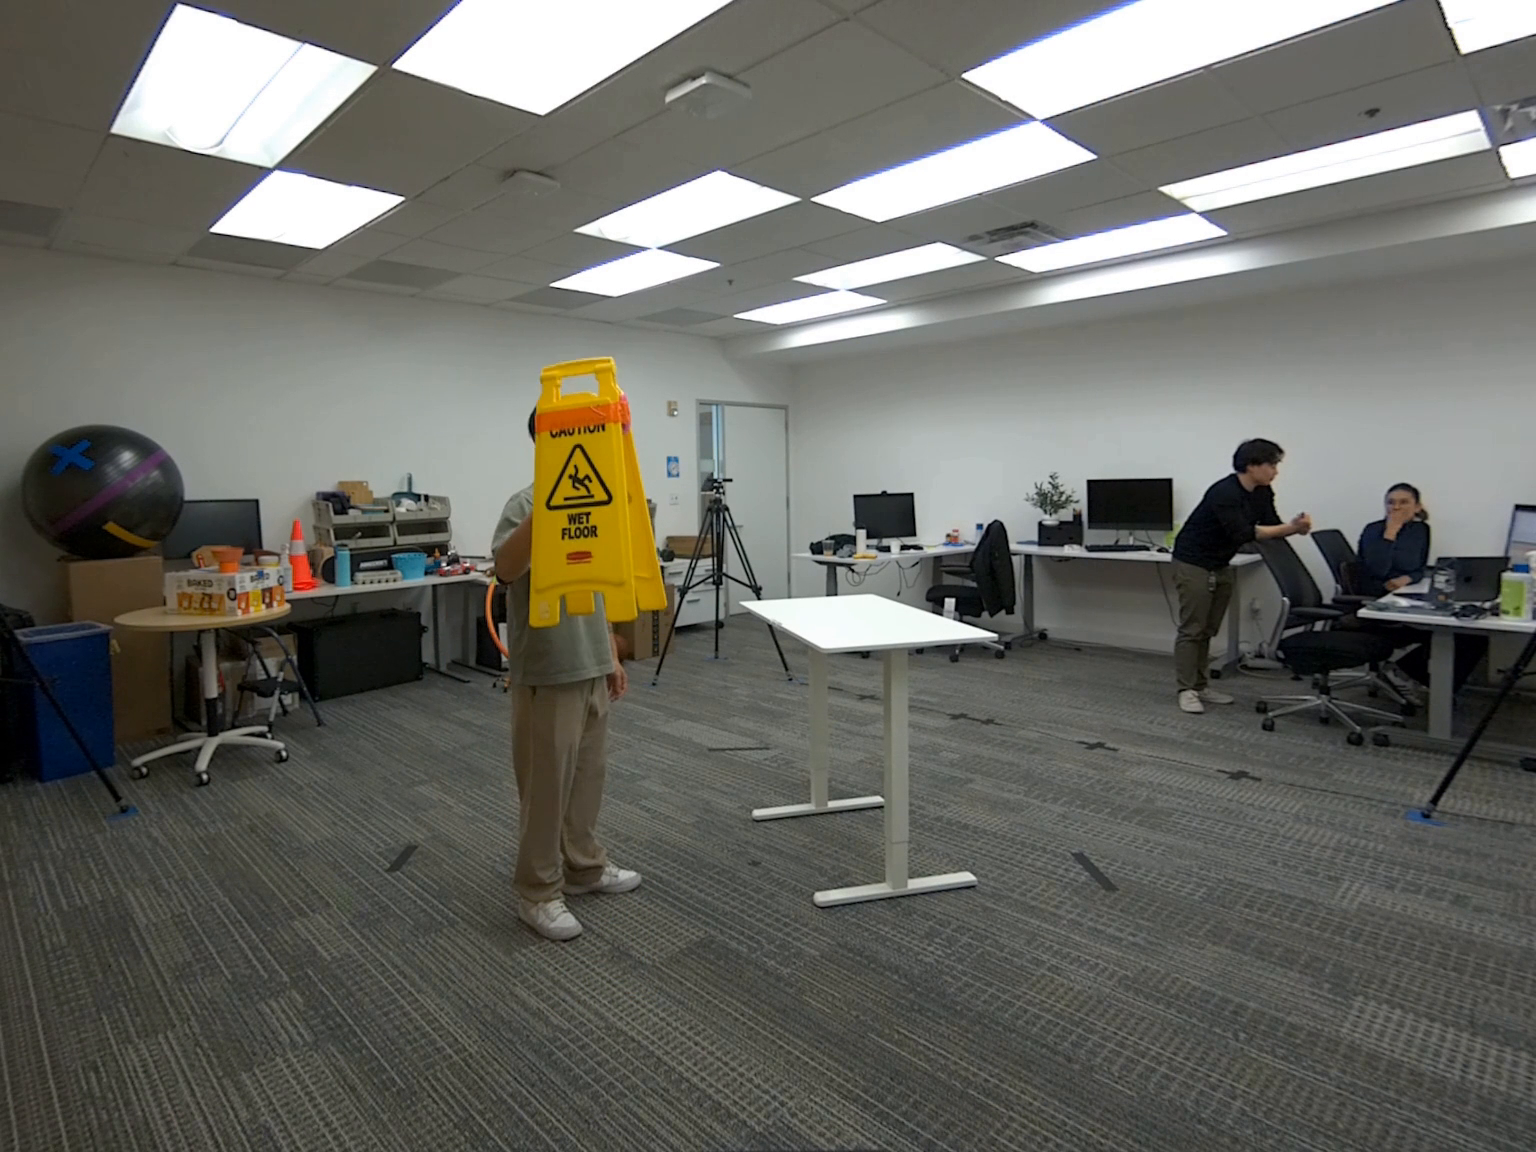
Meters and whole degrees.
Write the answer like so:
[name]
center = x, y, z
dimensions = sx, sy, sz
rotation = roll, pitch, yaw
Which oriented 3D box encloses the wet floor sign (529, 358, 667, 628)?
[wet floor sign]
center = -0.451, -0.213, 2.151
dimensions = 0.285, 0.646, 0.286
rotation = -6, 1, 12
